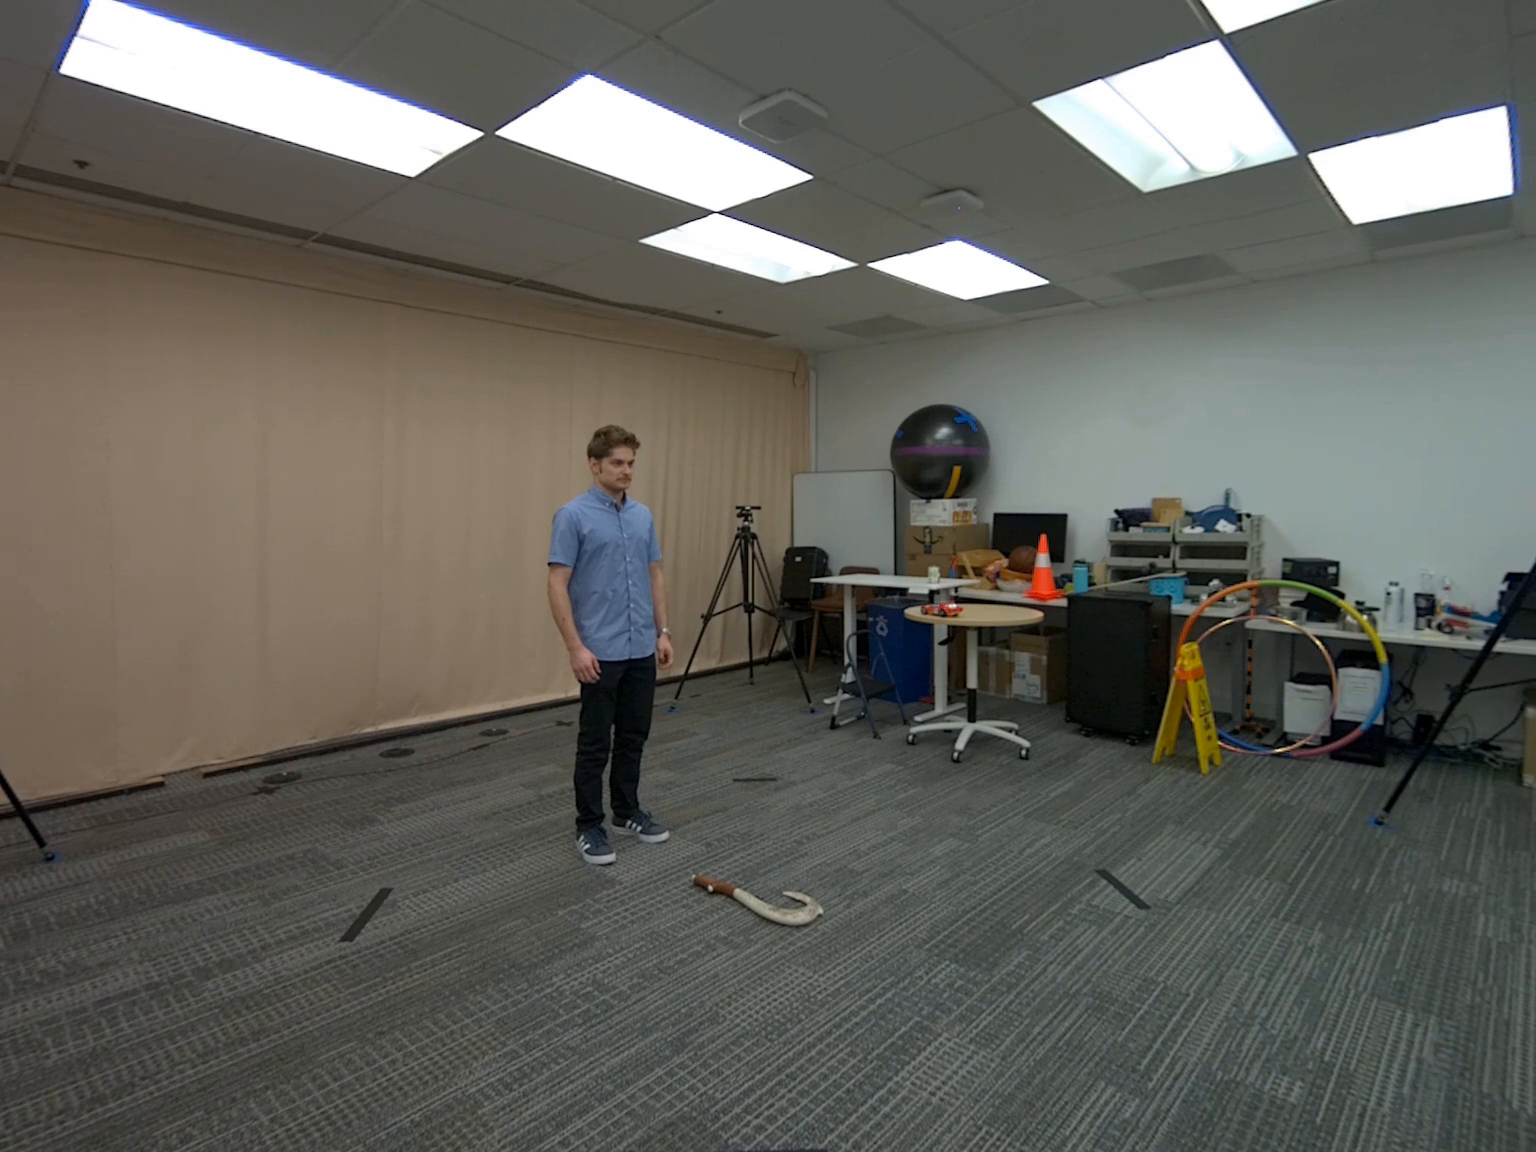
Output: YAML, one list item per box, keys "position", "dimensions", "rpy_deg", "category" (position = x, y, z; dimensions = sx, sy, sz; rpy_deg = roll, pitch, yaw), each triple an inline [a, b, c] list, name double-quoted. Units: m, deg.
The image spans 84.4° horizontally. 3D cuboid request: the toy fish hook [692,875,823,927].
- position: [-0.040, 1.129, 2.981]
  dimensions: [0.523, 0.048, 0.217]
  rpy_deg: [5, -2, 39]
  category: "toy fish hook"
